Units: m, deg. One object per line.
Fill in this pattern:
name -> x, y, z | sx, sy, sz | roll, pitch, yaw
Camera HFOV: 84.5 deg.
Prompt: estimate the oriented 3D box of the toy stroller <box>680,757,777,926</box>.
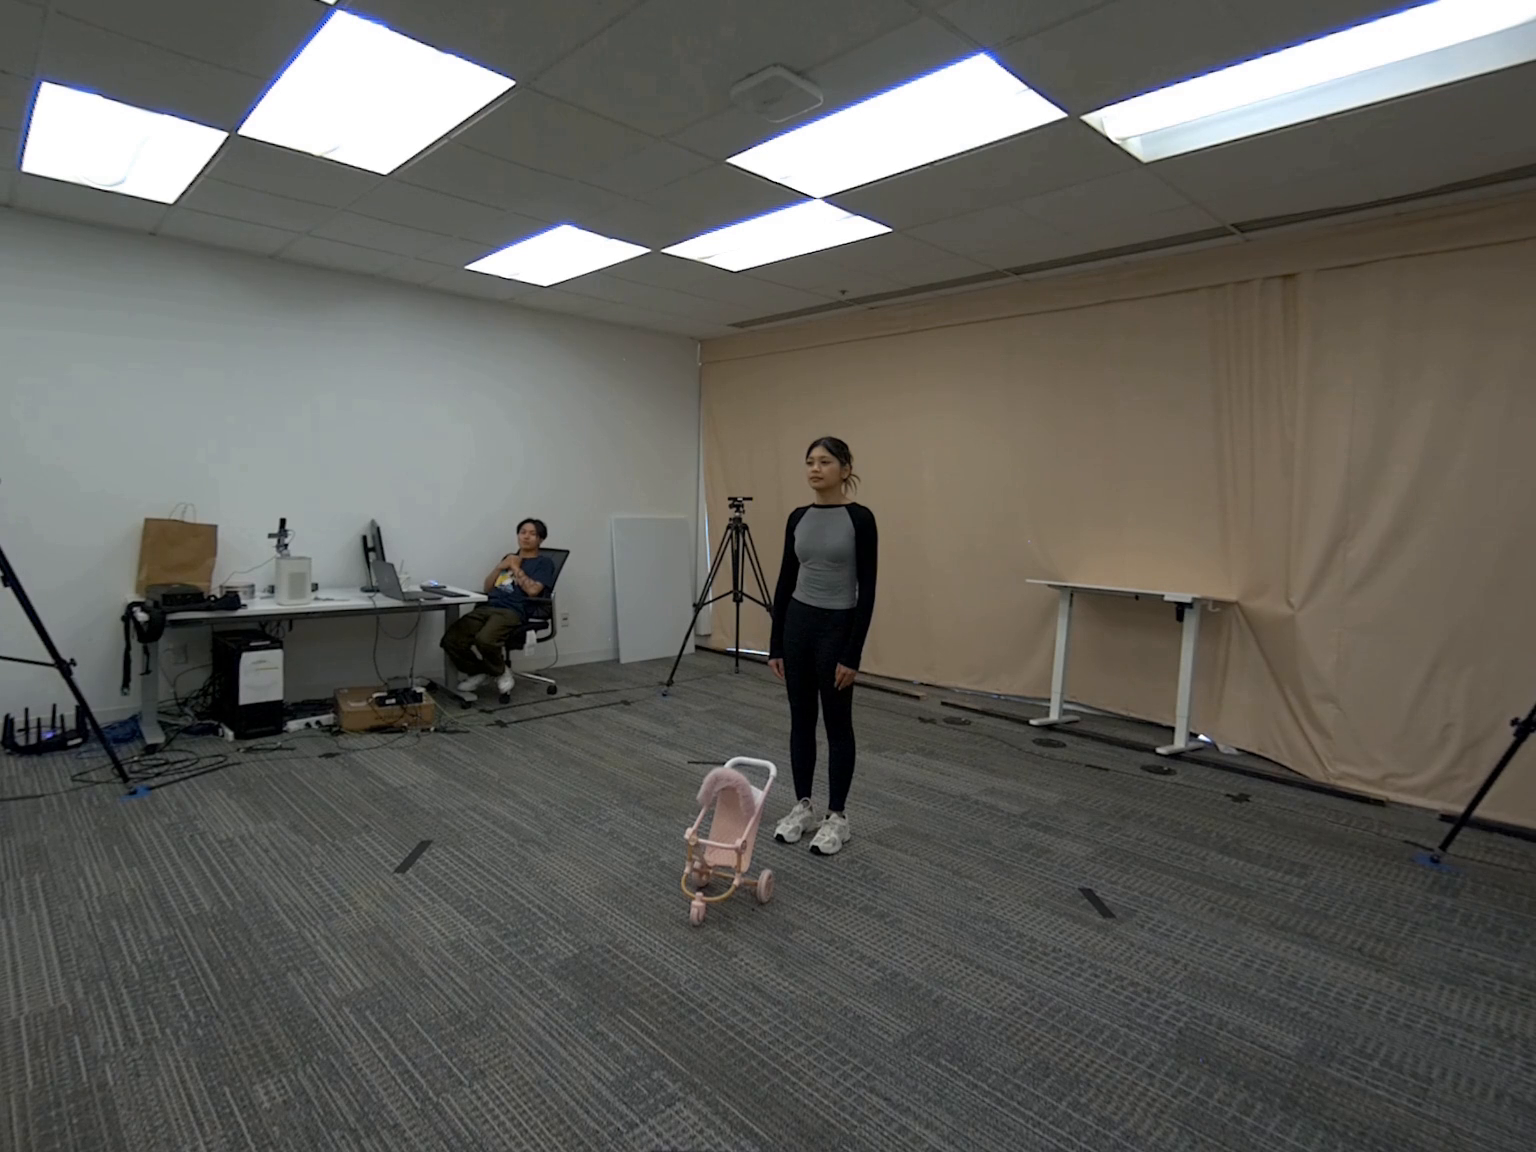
toy stroller -> -0.156, 0.901, 2.898 | 0.287, 0.538, 0.332 | 2, -11, 30
